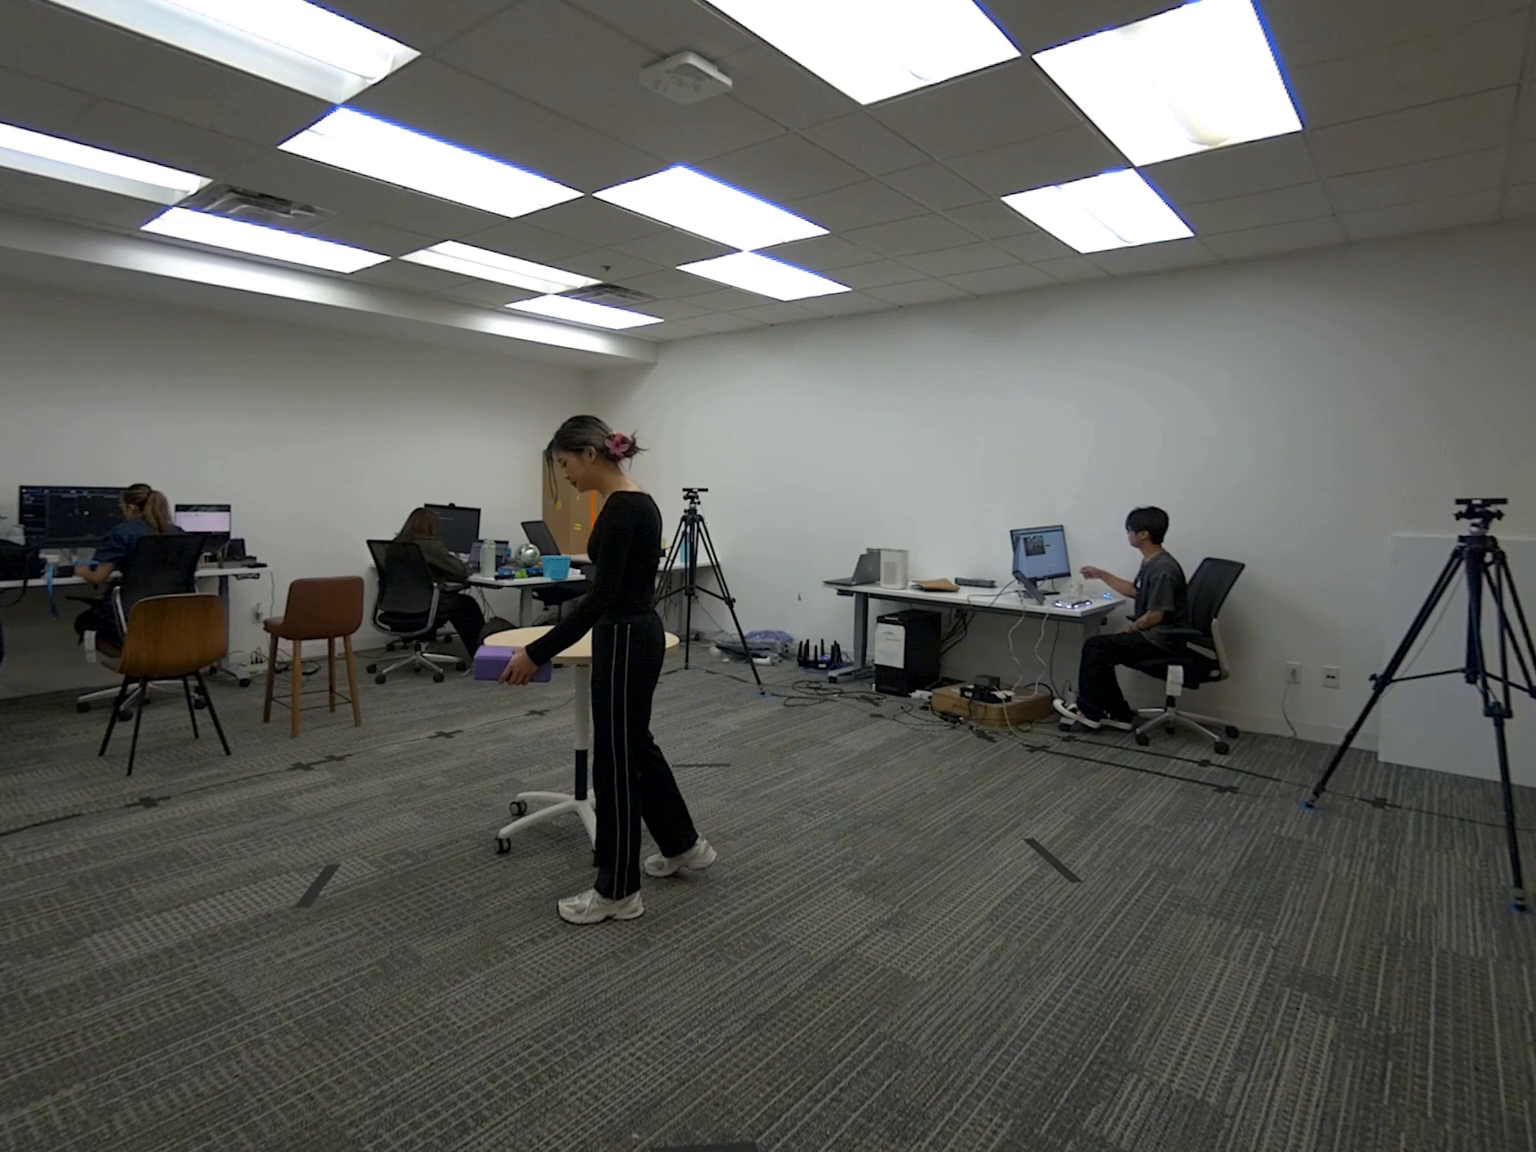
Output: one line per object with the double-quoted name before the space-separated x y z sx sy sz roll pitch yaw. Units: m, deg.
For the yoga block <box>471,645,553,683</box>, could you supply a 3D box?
"yoga block" -0.789 0.272 2.610 0.227 0.076 0.152 3 9 -10
